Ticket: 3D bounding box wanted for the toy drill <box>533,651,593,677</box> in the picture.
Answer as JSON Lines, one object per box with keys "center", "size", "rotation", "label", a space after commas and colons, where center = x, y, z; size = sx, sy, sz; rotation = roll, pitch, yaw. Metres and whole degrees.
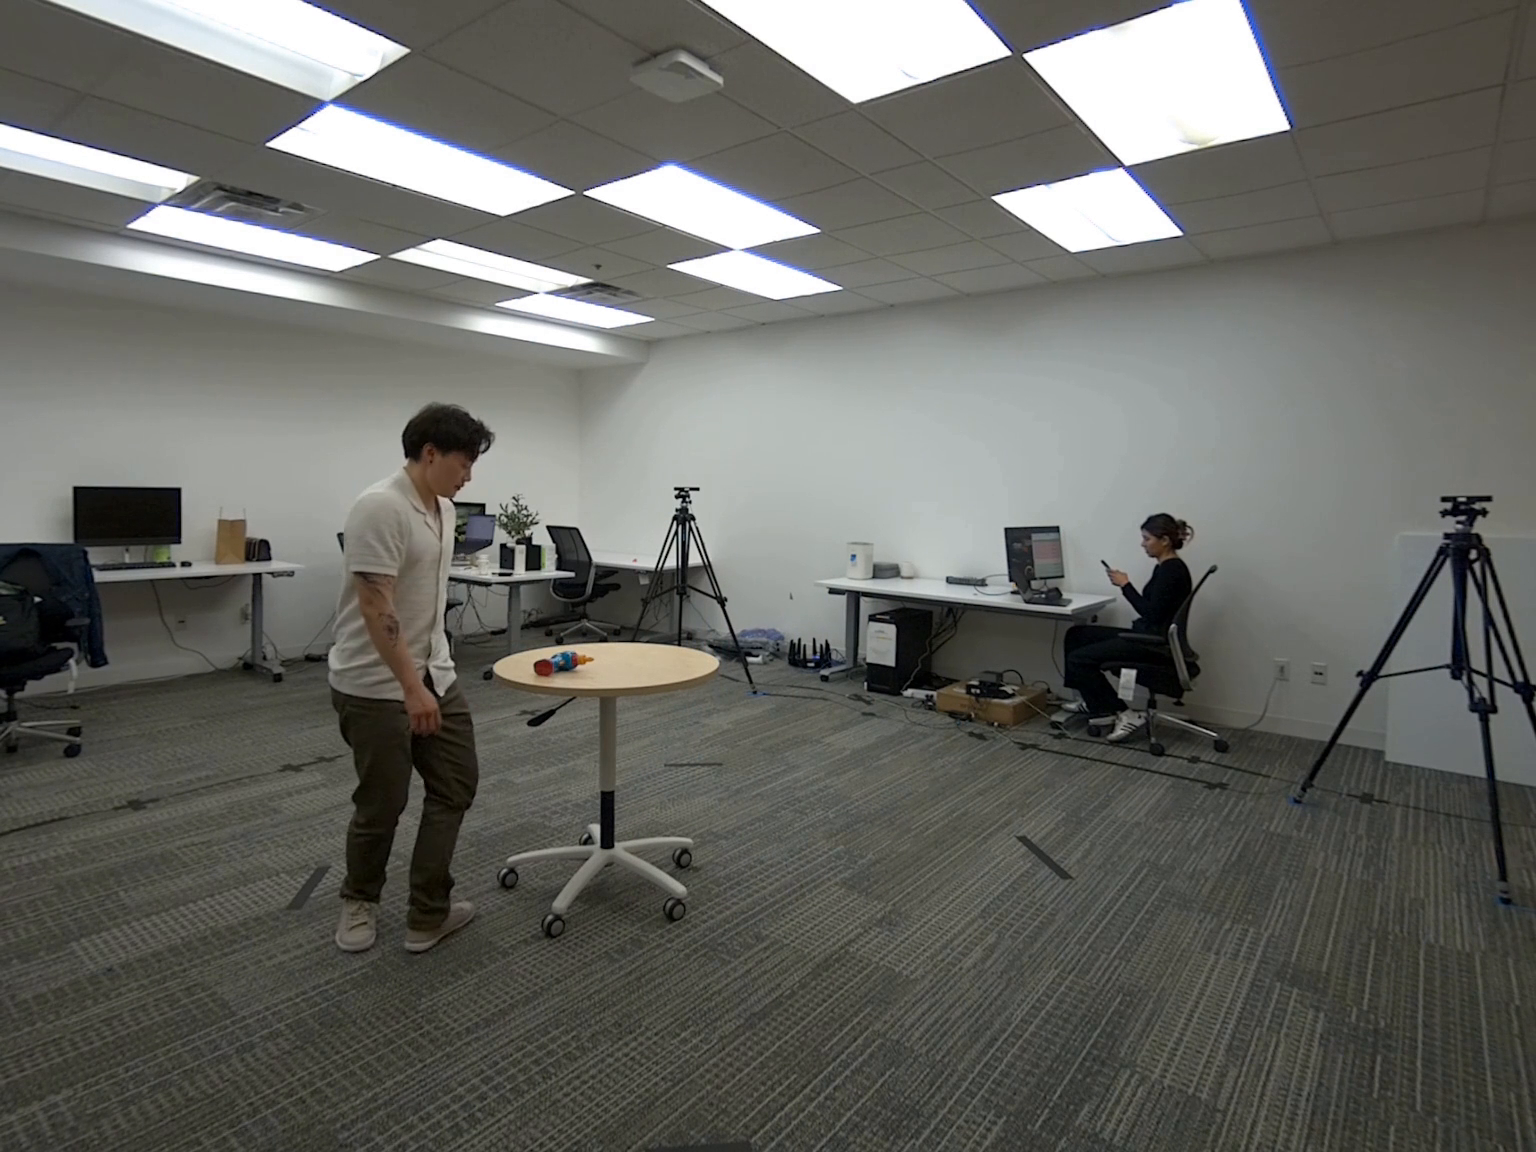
{"center": [-0.675, 0.284, 2.751], "size": [0.173, 0.061, 0.143], "rotation": [-3, 5, 21], "label": "toy drill"}
